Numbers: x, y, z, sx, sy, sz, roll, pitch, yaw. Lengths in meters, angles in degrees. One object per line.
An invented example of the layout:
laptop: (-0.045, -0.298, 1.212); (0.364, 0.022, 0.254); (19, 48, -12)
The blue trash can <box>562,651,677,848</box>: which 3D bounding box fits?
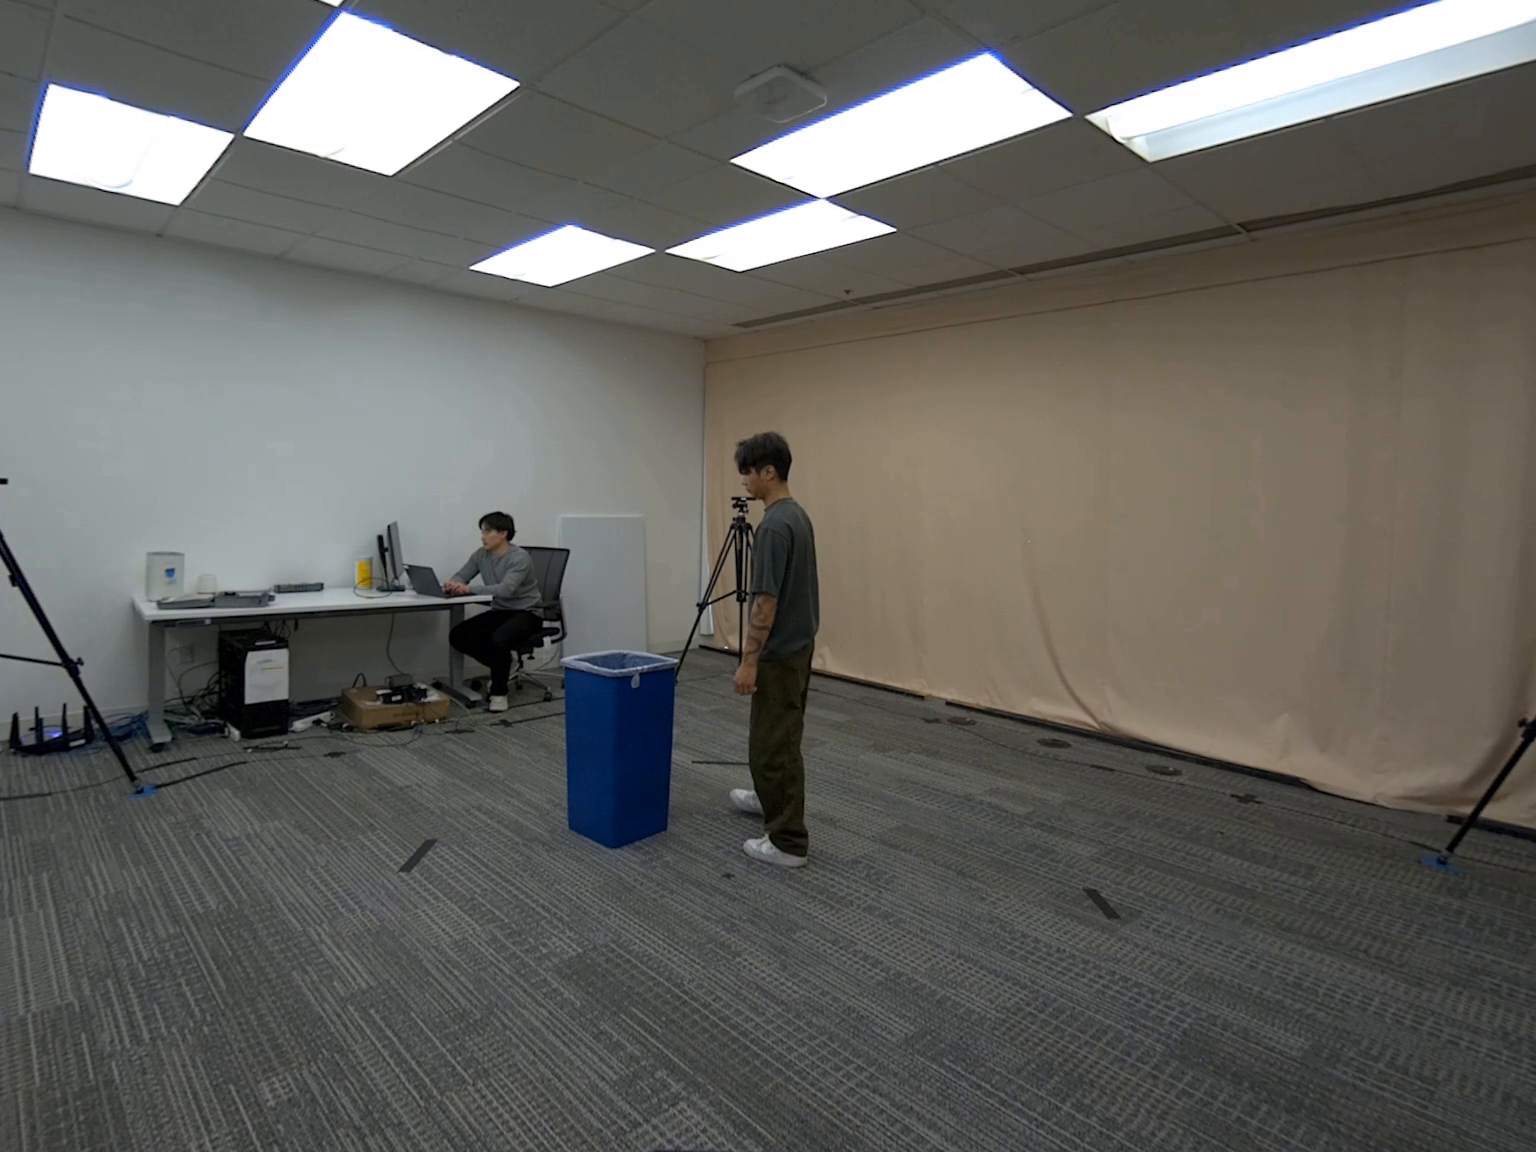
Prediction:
blue trash can: (-0.624, 0.699, 3.497); (0.387, 0.712, 0.365); (4, 3, 40)
